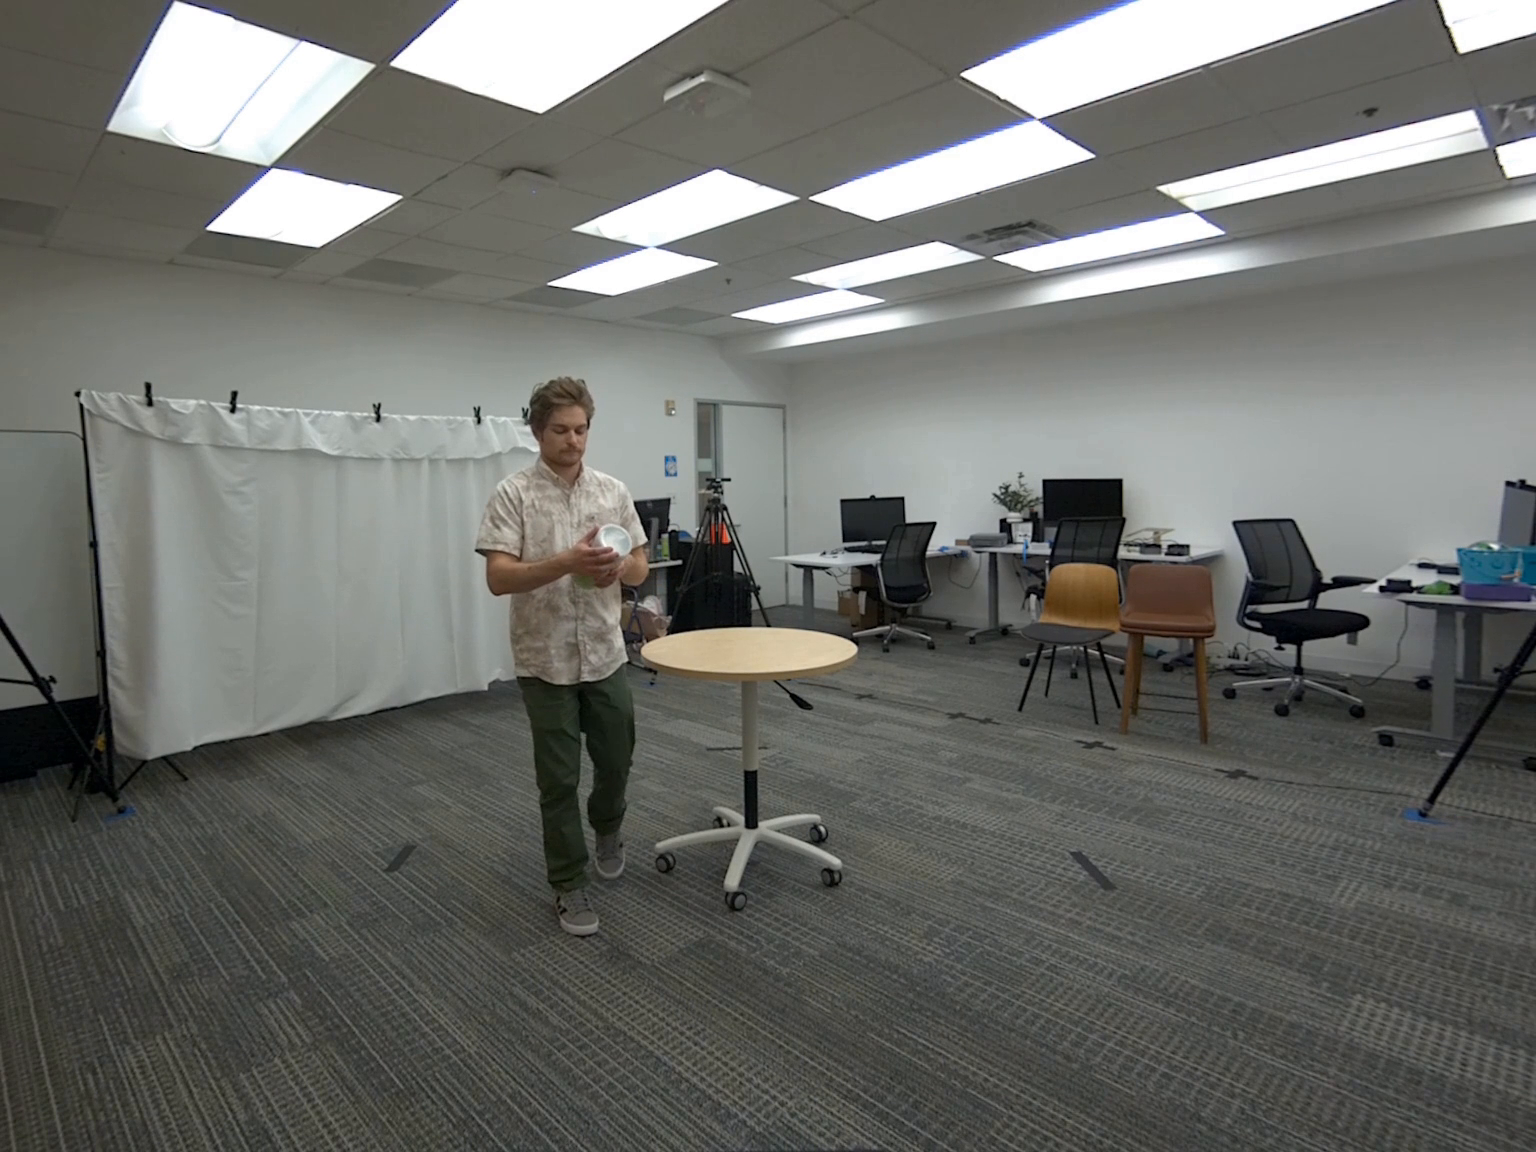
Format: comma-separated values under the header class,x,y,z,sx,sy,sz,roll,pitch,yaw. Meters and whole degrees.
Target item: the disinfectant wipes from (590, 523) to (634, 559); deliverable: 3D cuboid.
class,x,y,z,sx,sy,sz,roll,pitch,yaw
disinfectant wipes,-0.491,-0.050,2.482,0.115,0.121,0.217,-3,-27,-31
